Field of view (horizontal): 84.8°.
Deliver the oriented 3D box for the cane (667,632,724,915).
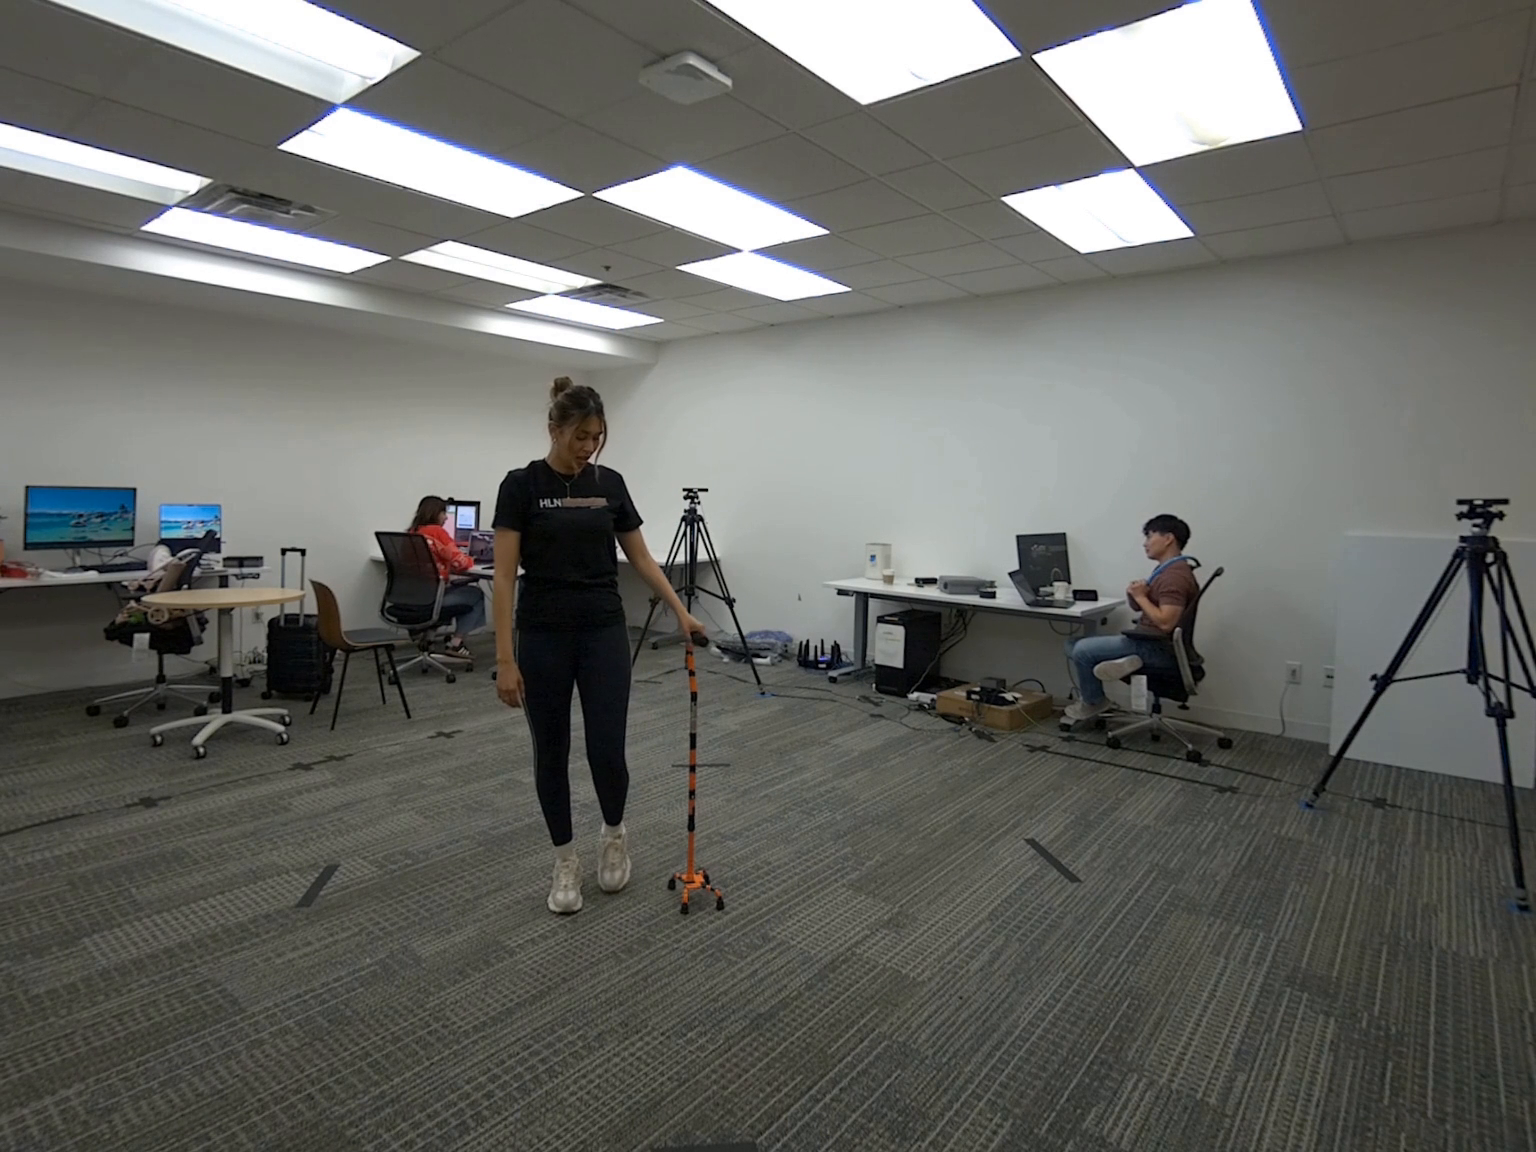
[{"bbox_3d":[-0.244,0.642,2.846,0.149,0.904,0.211,0,5,-17],"label":"cane"}]
